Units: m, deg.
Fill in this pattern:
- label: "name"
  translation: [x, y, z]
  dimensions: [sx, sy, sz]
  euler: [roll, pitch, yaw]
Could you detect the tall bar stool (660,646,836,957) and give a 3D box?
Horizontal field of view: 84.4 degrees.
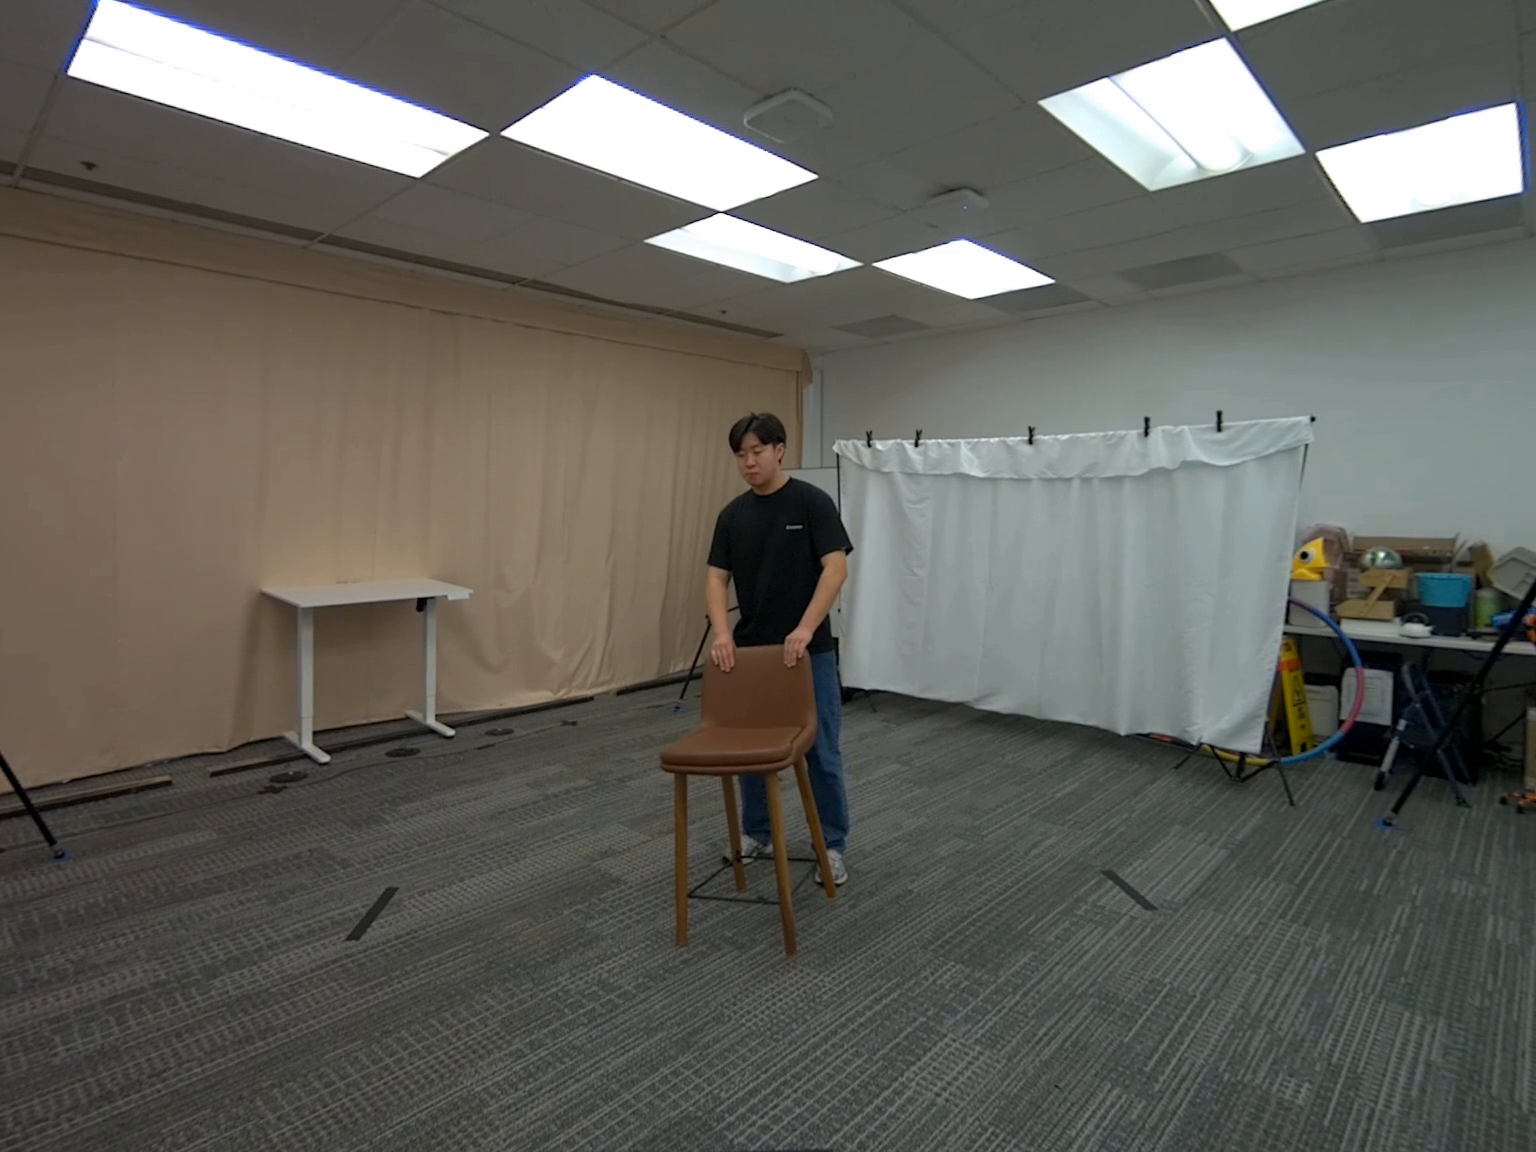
- label: "tall bar stool"
  translation: [-0.068, 0.700, 2.793]
  dimensions: [0.467, 0.891, 0.456]
  euler: [-7, -3, 26]
